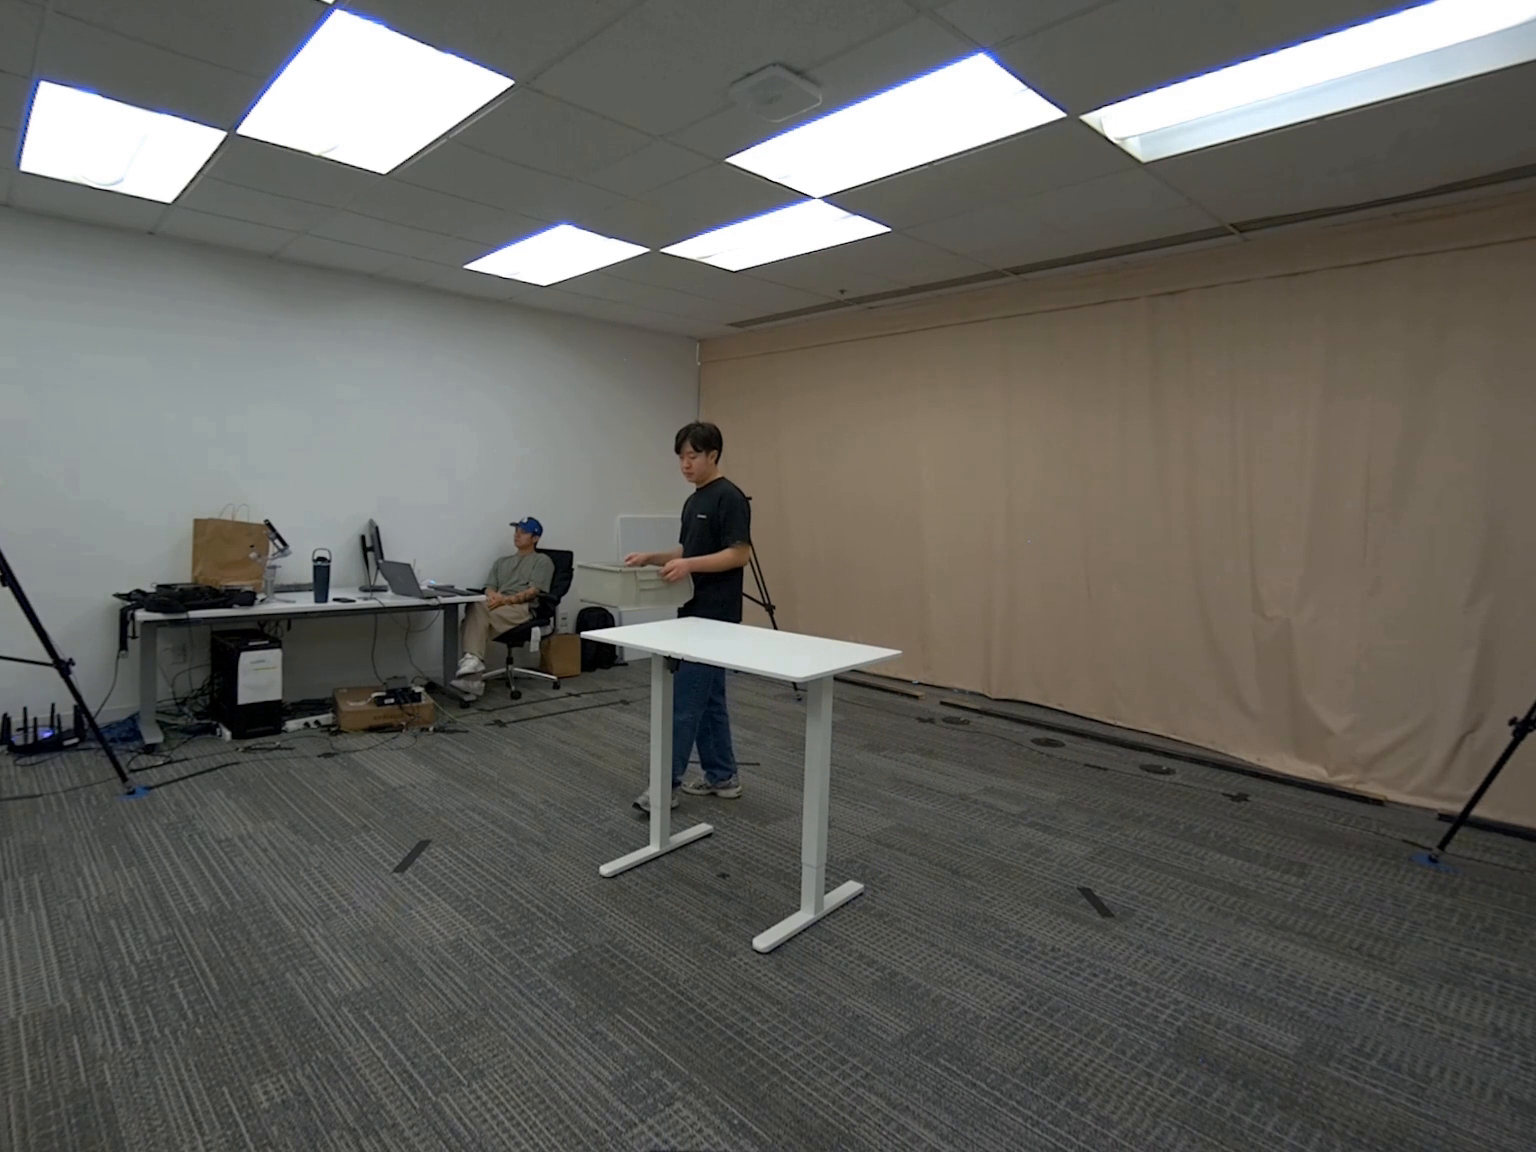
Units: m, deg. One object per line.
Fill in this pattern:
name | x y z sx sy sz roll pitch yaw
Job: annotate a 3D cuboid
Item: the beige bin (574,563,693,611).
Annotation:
beige bin | -0.602 0.037 3.754 0.369 0.188 0.433 -3 6 -38
